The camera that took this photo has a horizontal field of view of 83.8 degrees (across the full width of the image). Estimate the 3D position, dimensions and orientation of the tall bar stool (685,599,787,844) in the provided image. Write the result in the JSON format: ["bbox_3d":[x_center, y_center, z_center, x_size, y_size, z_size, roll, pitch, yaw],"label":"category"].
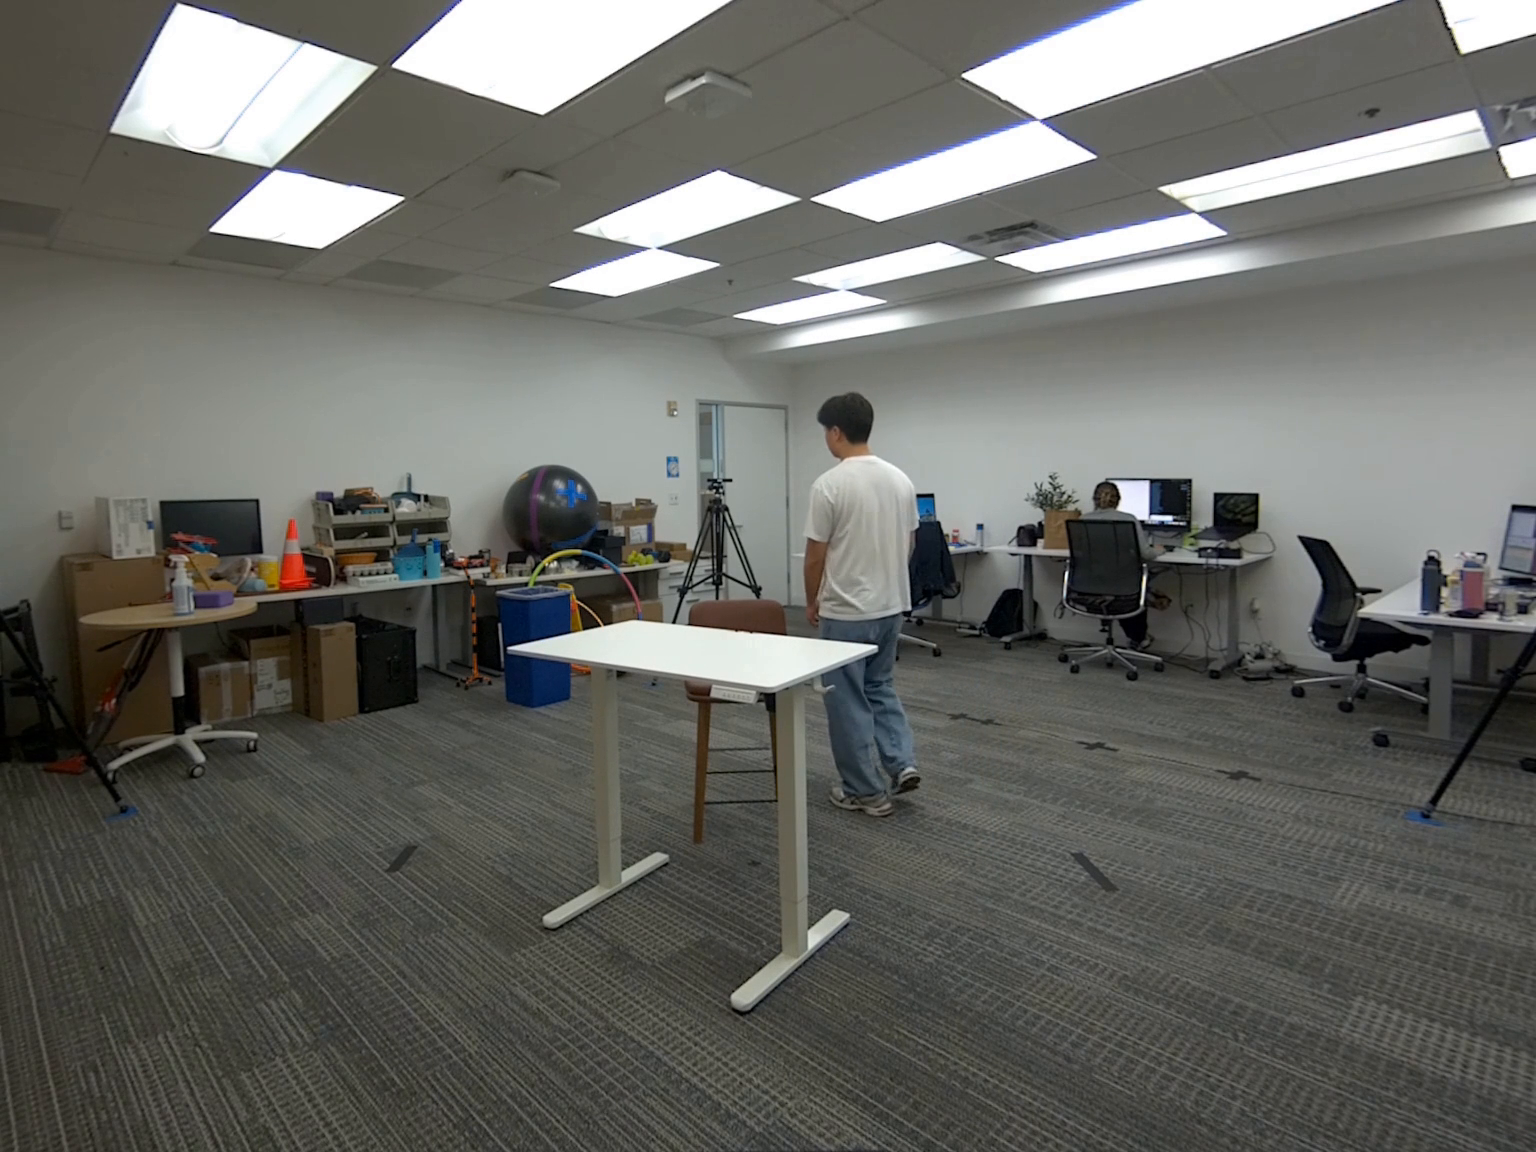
[{"bbox_3d":[-0.103,0.569,3.490,0.455,0.888,0.470,0,2,-4],"label":"tall bar stool"}]
